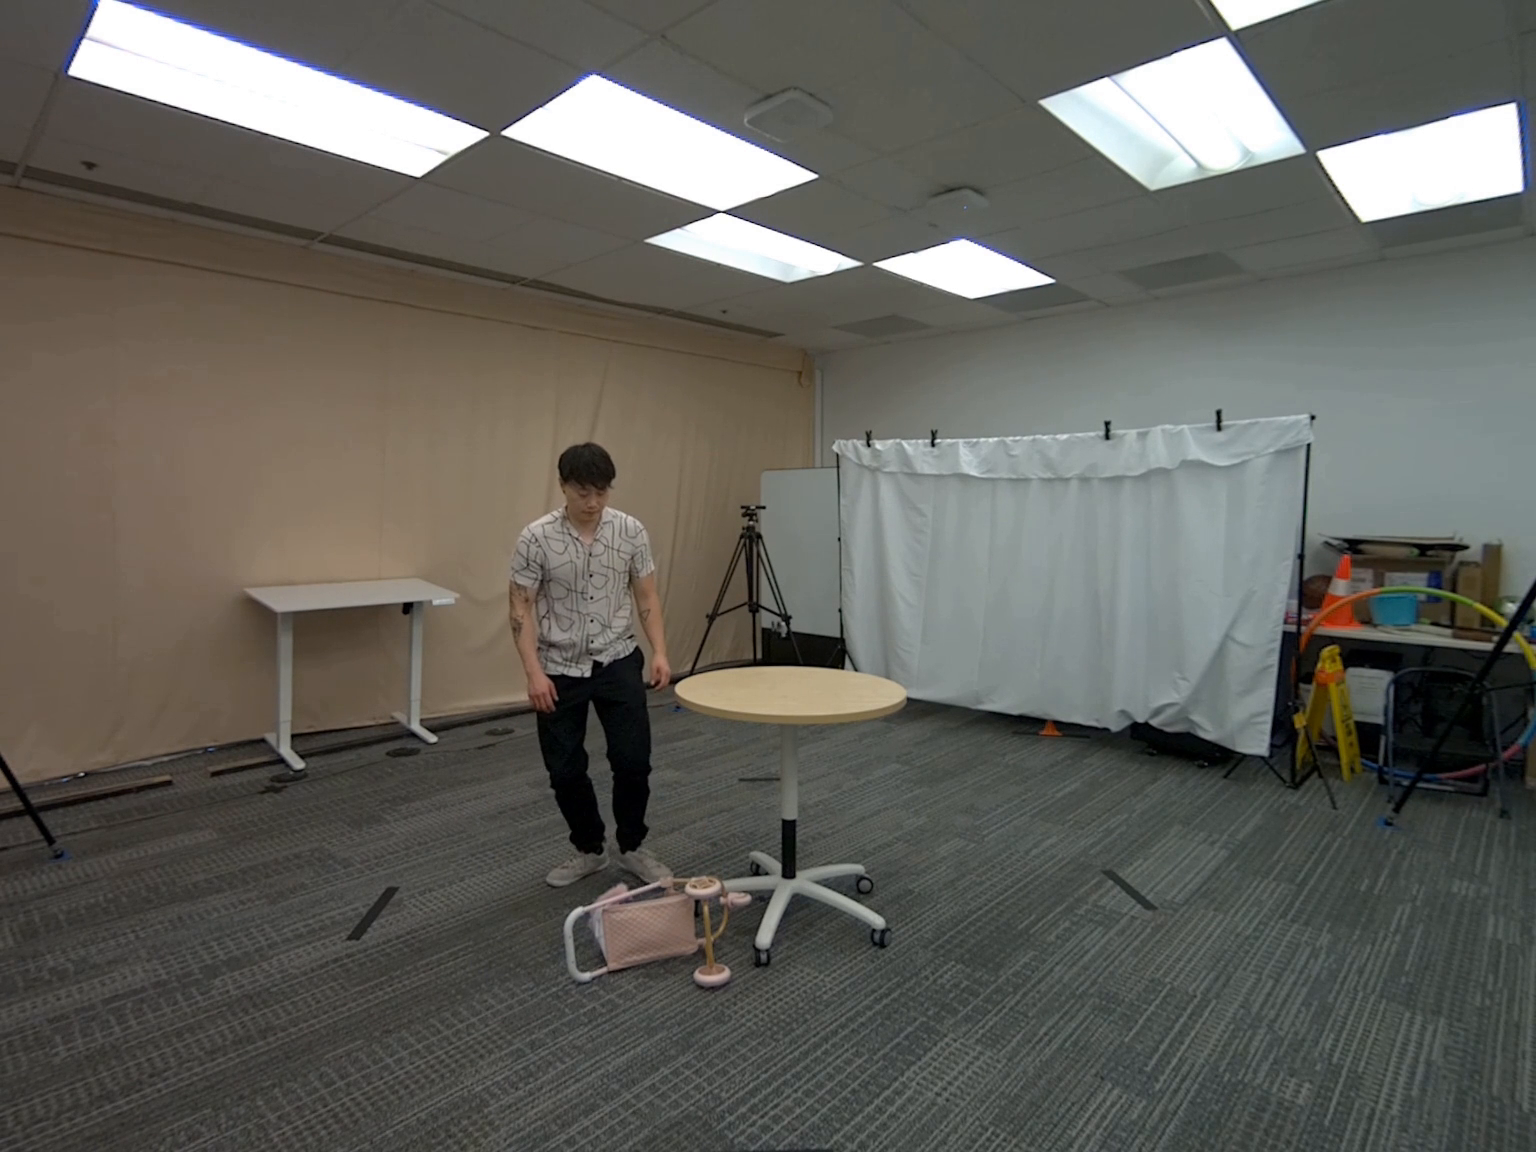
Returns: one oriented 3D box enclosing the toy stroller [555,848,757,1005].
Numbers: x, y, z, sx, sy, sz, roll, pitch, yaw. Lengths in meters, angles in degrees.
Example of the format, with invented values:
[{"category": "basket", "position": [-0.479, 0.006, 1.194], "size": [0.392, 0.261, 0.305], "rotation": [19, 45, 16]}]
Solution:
[{"category": "toy stroller", "position": [-0.327, 1.056, 2.589], "size": [0.538, 0.281, 0.340], "rotation": [-7, 1, 5]}]
